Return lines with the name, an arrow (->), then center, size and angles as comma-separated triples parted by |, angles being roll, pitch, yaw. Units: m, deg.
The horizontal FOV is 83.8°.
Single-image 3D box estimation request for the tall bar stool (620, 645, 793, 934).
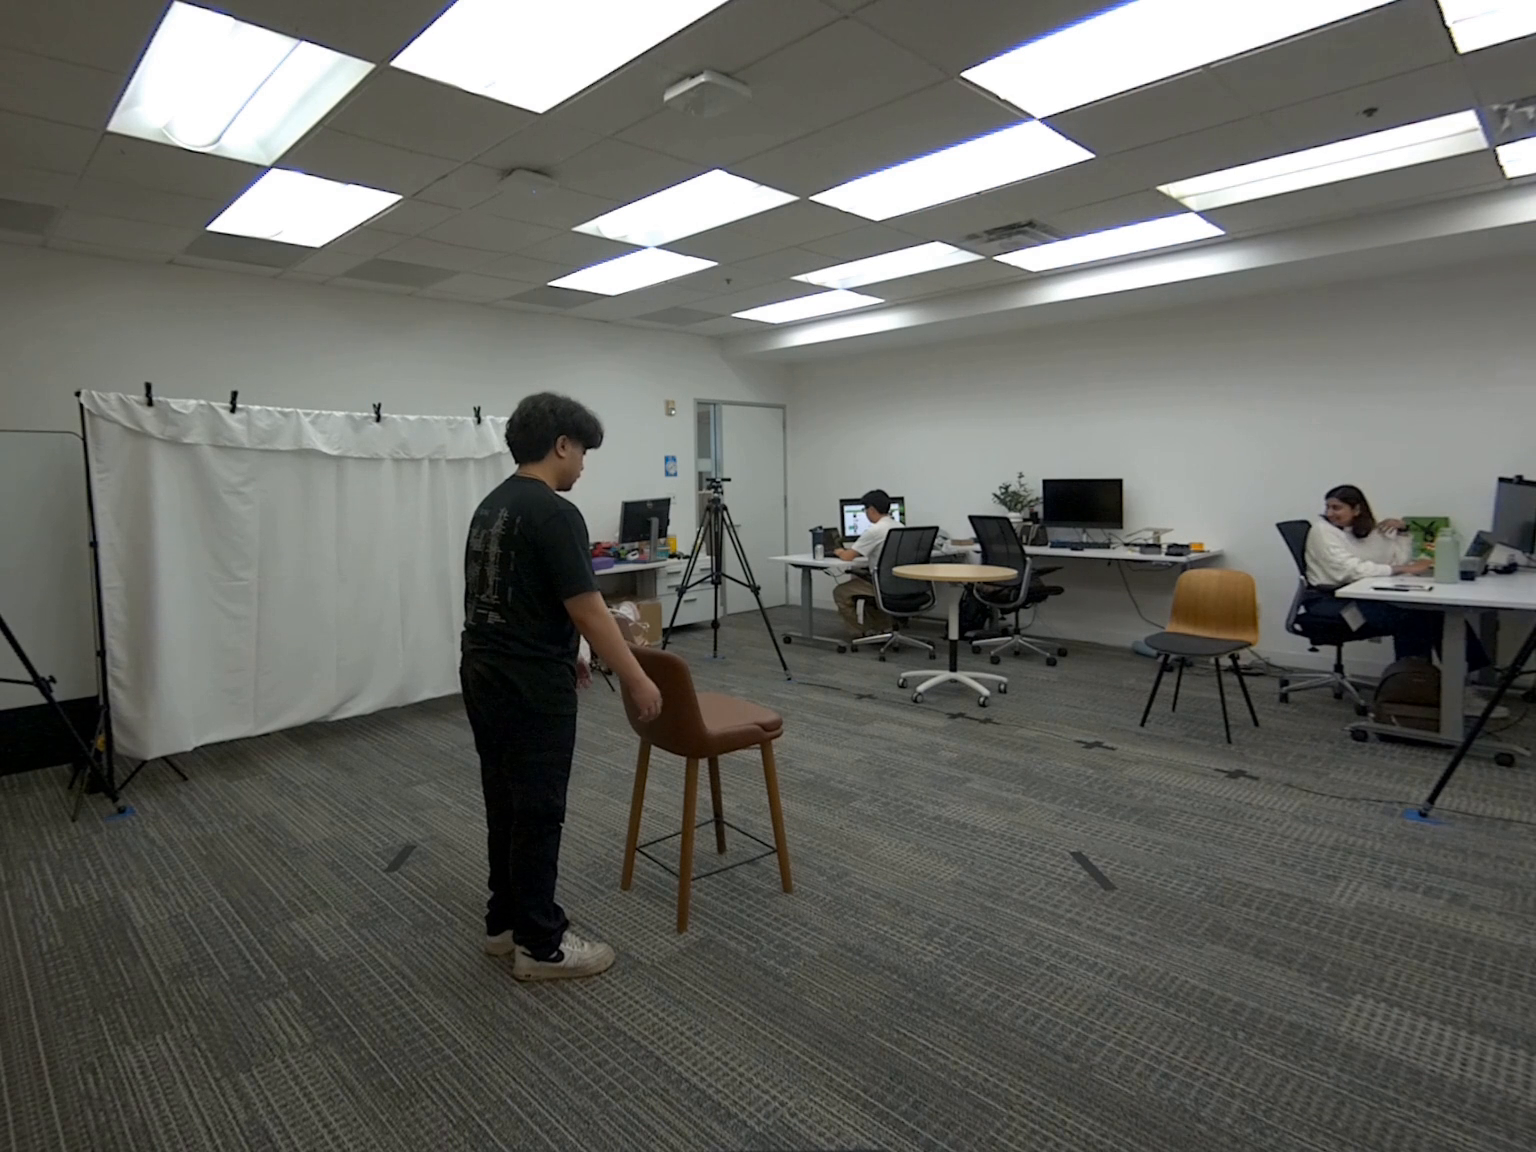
tall bar stool -> -0.227, 0.635, 2.882 | 0.456, 0.885, 0.470 | -7, 7, -37
